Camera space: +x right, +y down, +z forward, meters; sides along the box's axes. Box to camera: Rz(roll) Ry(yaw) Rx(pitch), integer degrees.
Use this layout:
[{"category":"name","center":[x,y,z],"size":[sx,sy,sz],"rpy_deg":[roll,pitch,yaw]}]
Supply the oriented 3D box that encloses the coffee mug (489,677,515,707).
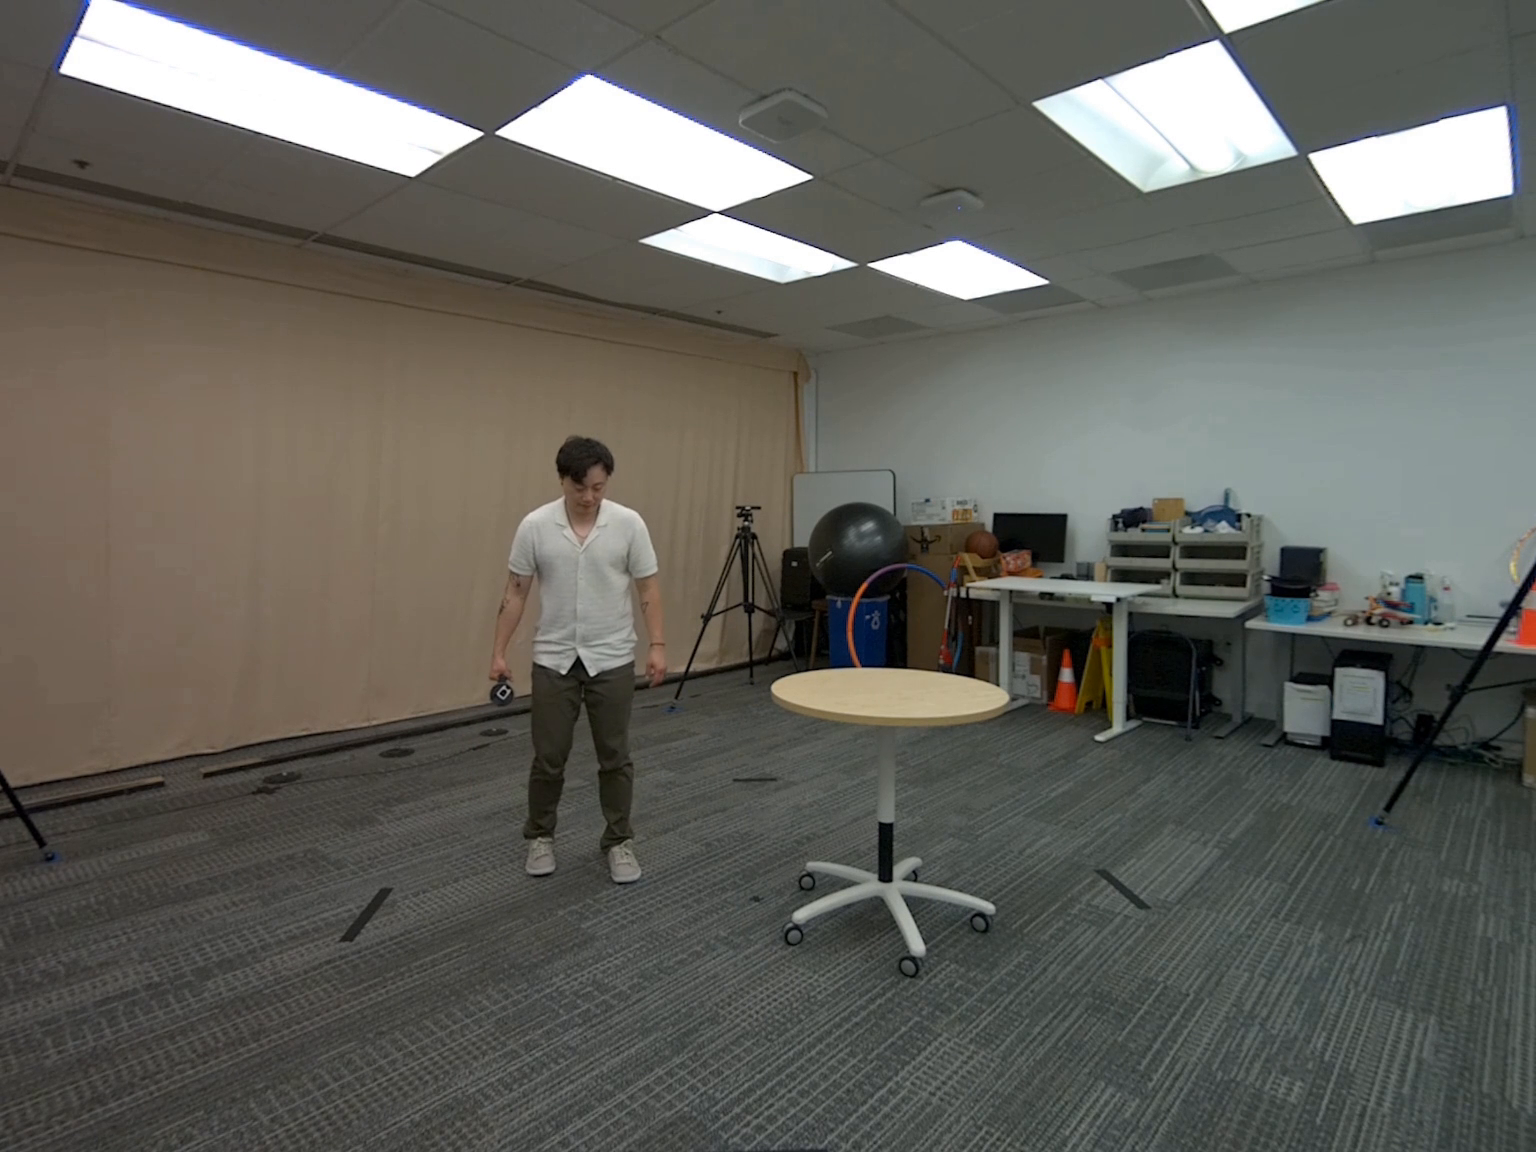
[{"category":"coffee mug","center":[-0.986,0.431,3.198],"size":[0.087,0.122,0.204],"rpy_deg":[43,-6,-7]}]
